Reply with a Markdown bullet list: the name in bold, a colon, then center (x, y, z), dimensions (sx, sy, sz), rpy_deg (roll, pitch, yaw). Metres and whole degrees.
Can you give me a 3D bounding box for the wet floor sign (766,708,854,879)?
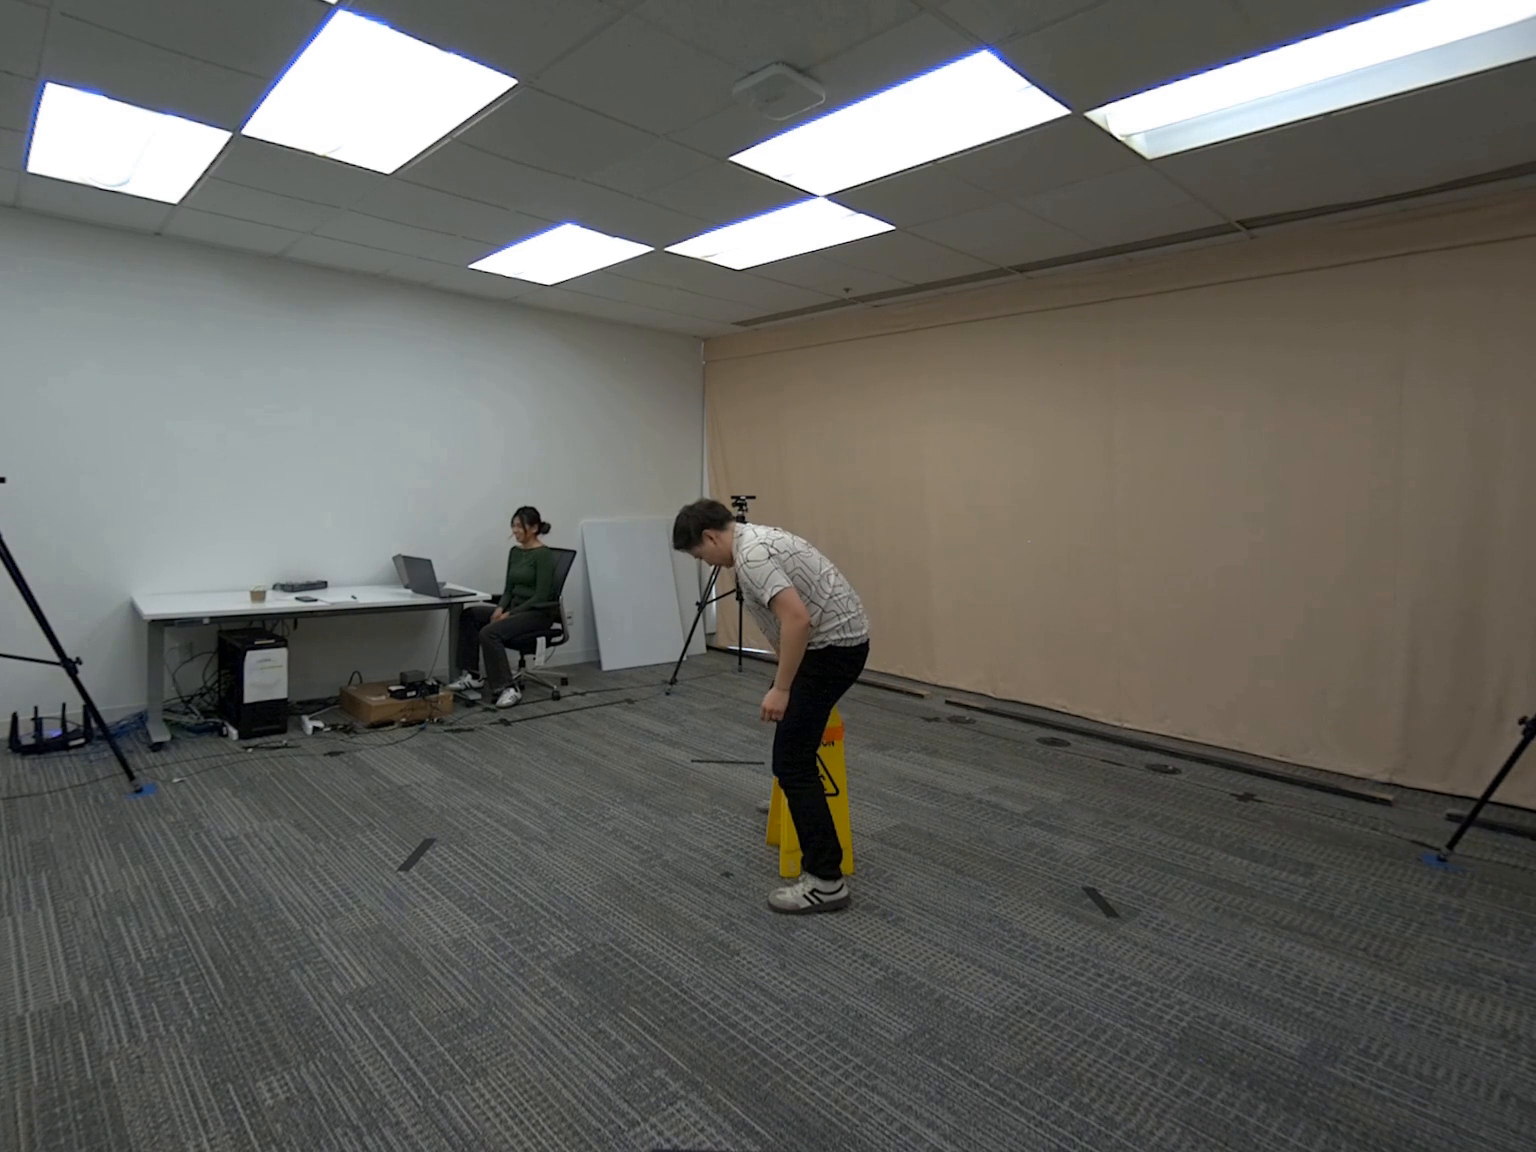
- **wet floor sign**: center (0.158, 0.772, 3.243), dimensions (0.280, 0.645, 0.292), rpy_deg (2, 2, -8)
